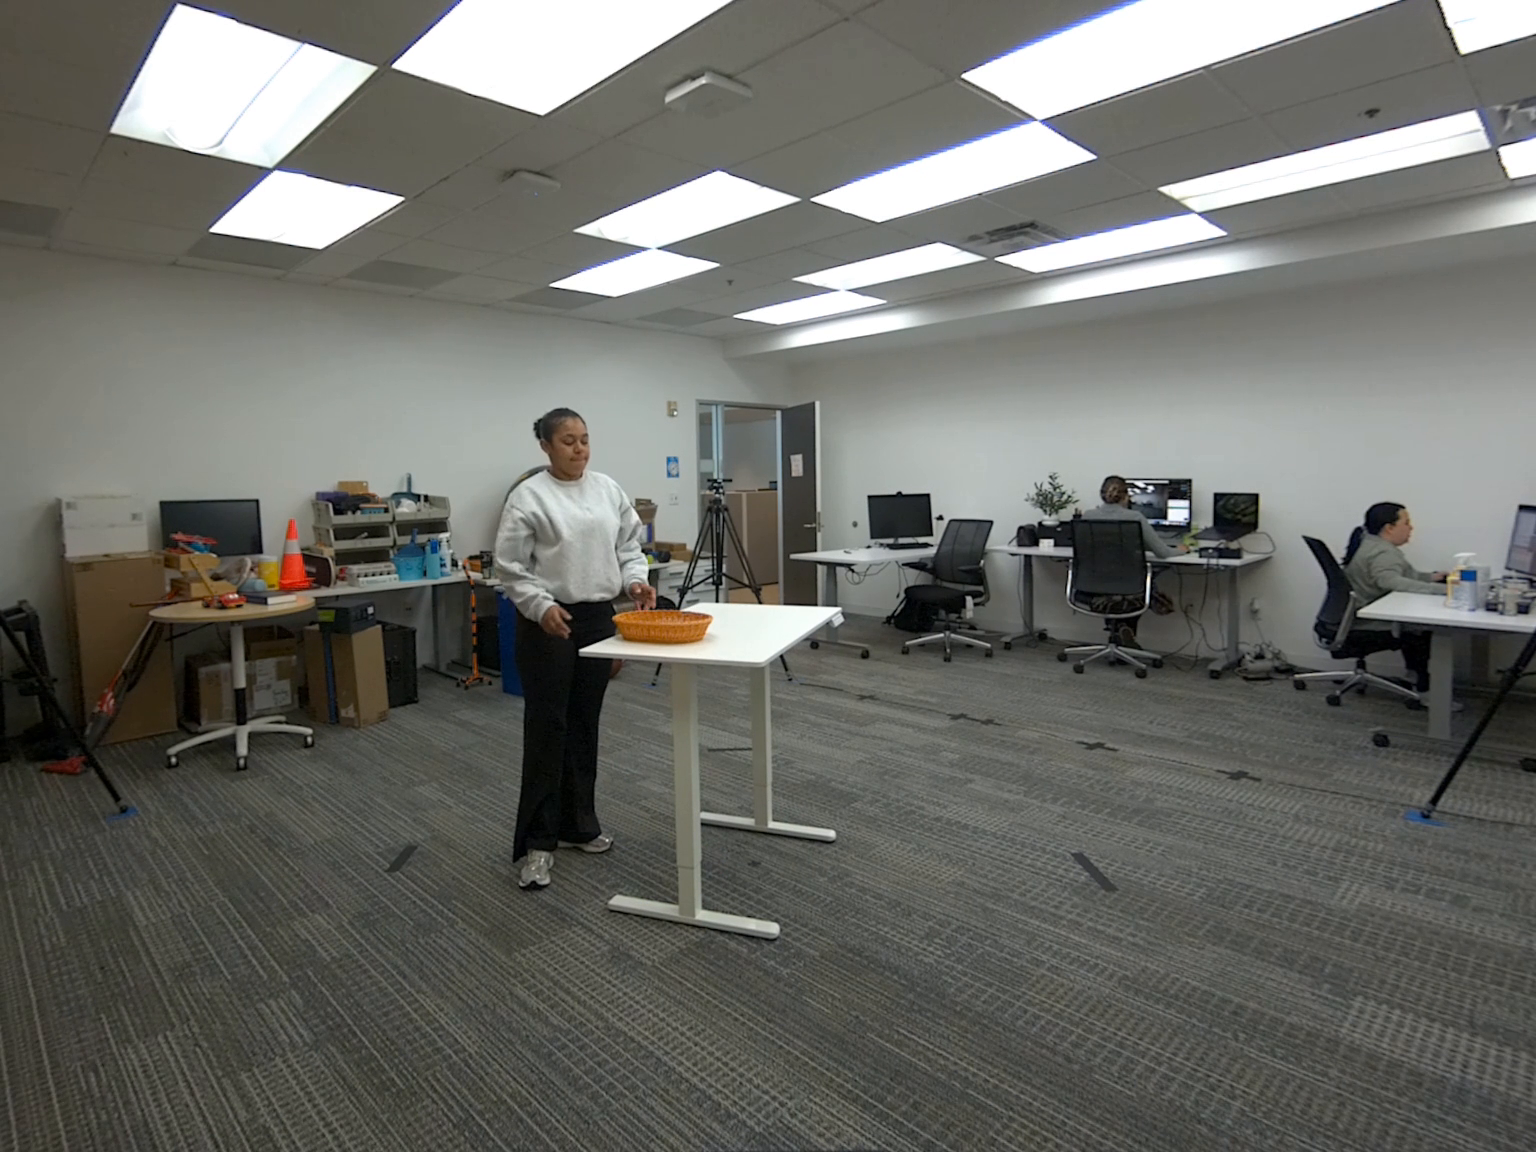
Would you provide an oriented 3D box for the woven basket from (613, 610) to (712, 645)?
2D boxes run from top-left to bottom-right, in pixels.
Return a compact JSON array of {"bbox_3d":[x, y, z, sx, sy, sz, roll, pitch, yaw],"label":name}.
[{"bbox_3d":[-0.346,0.172,2.817,0.360,0.073,0.247,2,7,30],"label":"woven basket"}]
